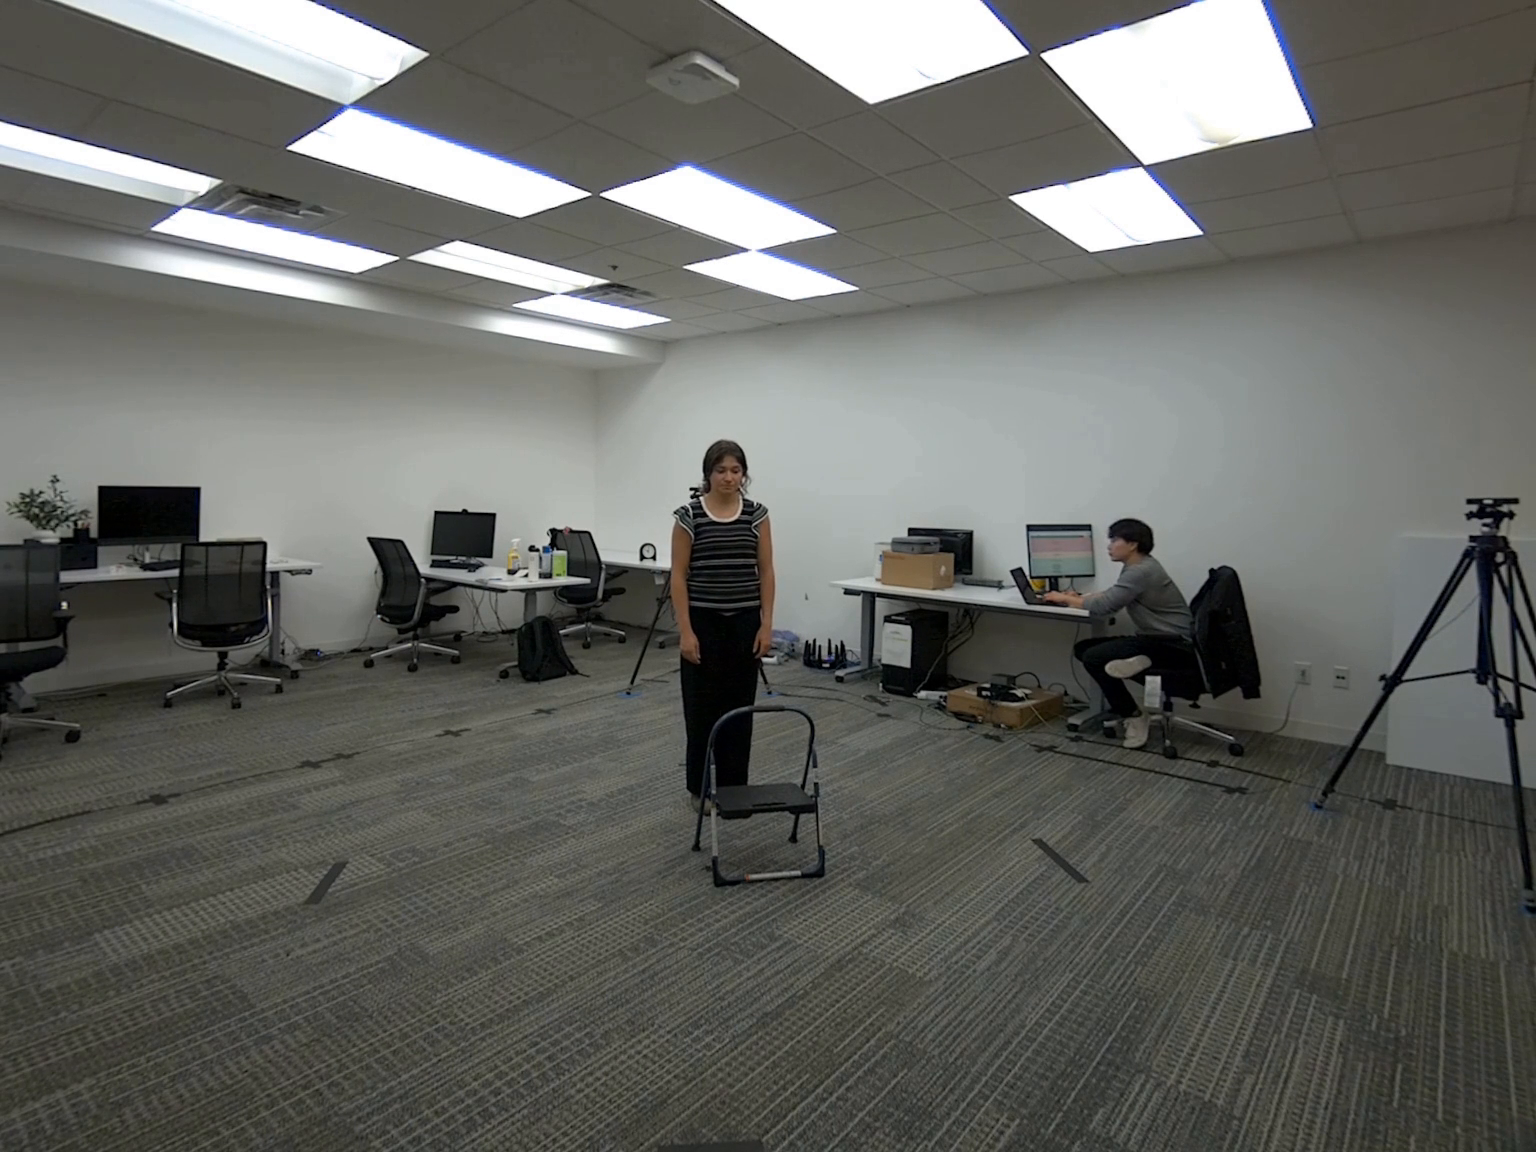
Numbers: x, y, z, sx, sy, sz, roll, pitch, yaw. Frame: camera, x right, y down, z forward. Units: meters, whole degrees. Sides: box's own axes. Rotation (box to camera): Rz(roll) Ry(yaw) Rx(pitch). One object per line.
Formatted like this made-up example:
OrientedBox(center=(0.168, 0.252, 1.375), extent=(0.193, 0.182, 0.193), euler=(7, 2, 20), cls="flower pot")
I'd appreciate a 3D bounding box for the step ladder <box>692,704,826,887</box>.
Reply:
OrientedBox(center=(-0.043, 0.763, 3.166), extent=(0.423, 0.605, 0.356), euler=(0, 3, -16), cls="step ladder")
